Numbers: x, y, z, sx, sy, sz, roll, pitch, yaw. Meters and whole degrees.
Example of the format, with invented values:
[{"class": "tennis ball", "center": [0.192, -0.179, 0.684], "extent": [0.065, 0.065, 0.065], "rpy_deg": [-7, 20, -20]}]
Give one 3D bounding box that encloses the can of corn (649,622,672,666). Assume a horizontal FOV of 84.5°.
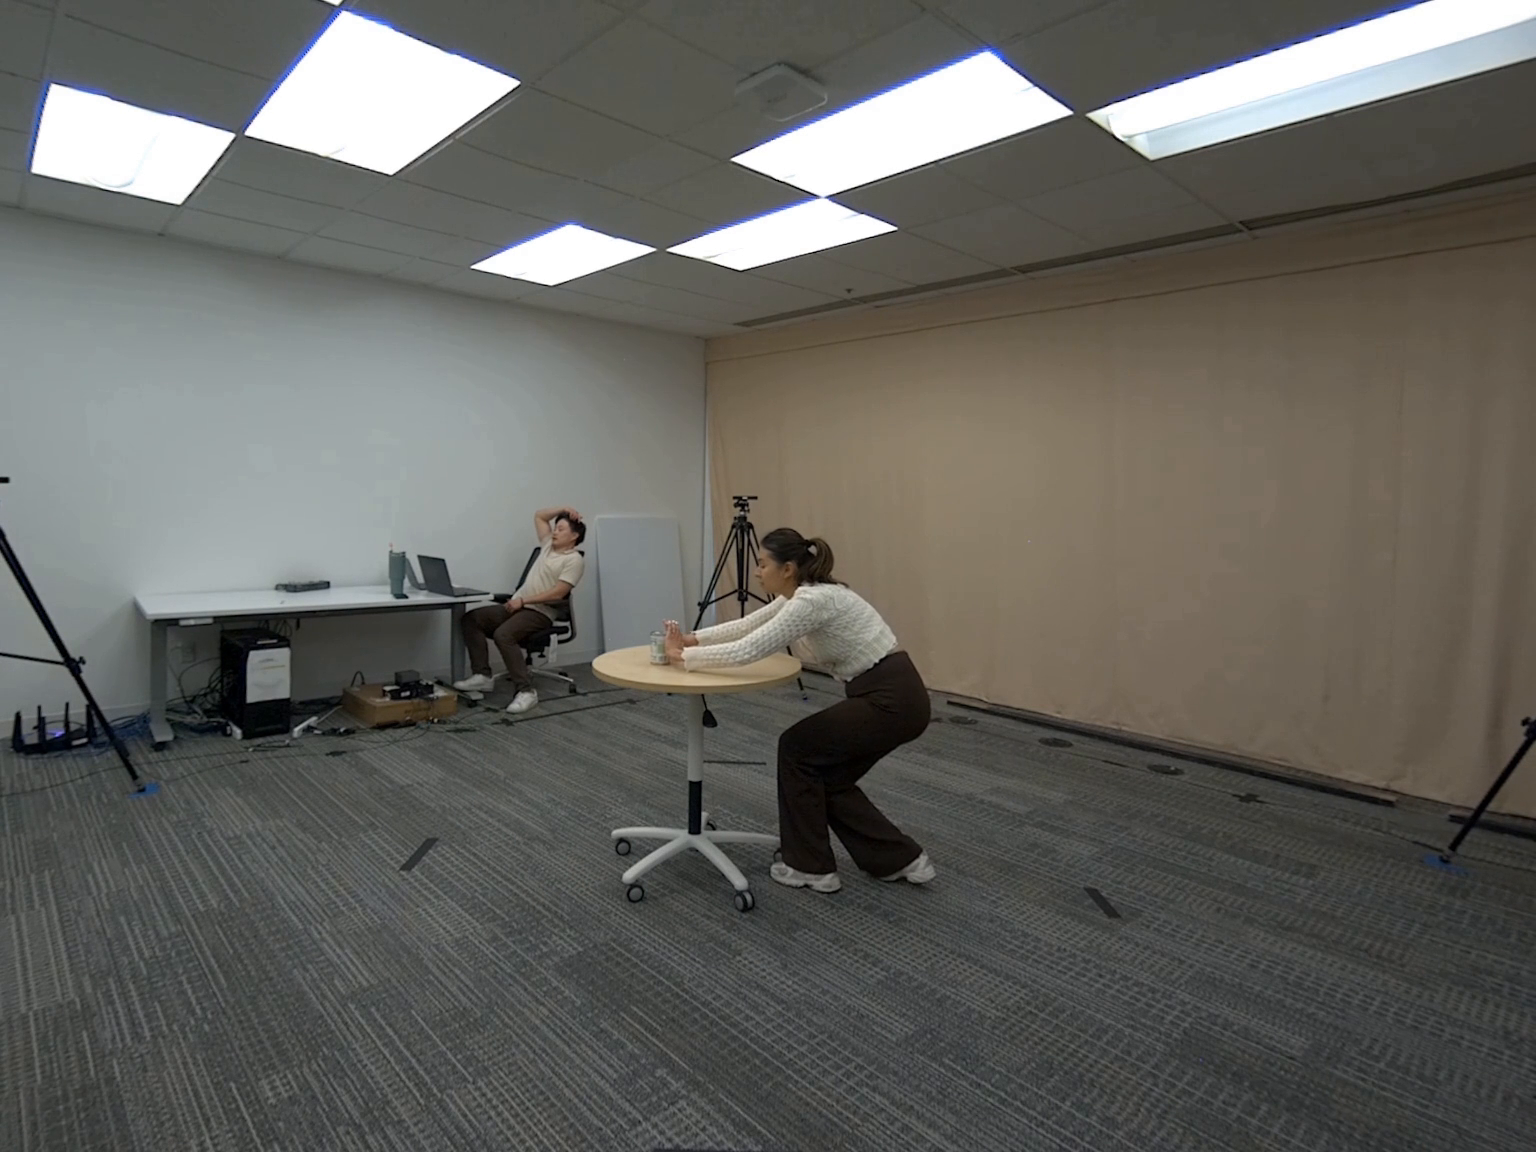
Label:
[{"class": "can of corn", "center": [-0.396, 0.261, 3.058], "extent": [0.074, 0.111, 0.074], "rpy_deg": [1, 5, -1]}]
